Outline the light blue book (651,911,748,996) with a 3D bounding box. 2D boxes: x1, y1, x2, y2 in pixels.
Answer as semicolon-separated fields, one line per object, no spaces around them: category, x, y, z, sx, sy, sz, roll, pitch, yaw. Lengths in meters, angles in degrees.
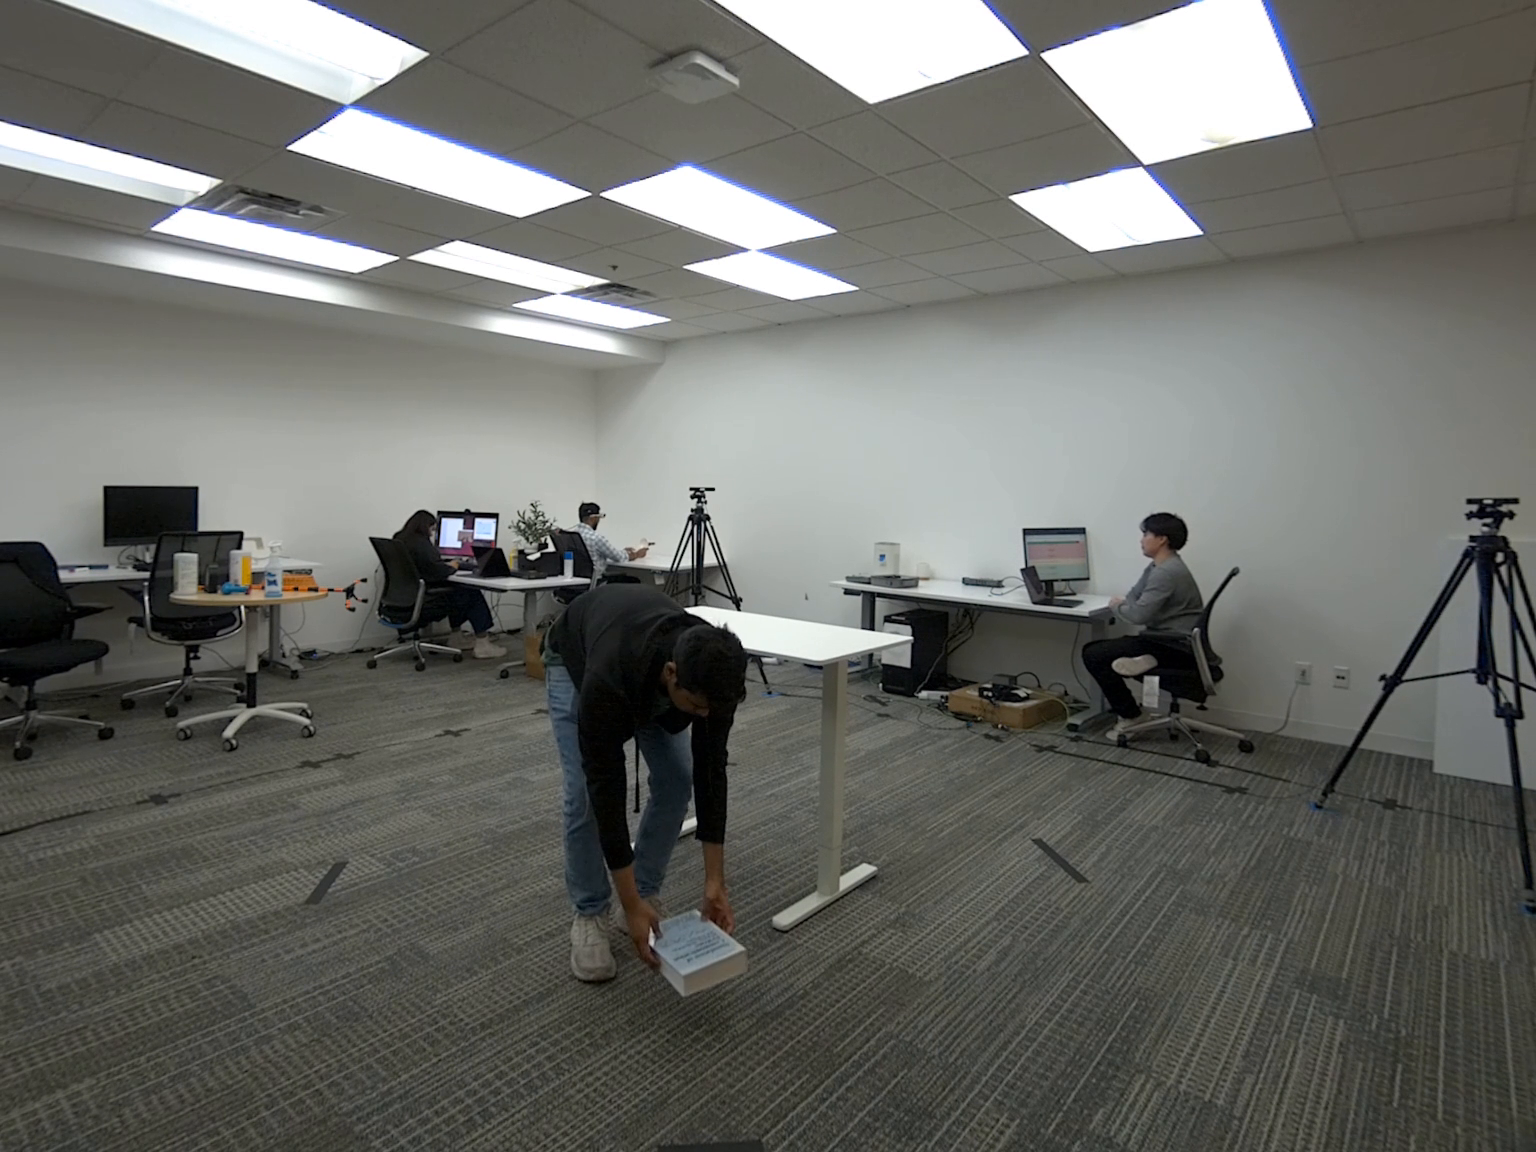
light blue book;-0.200;0.959;2.210;0.187;0.059;0.268;-9;6;-32
